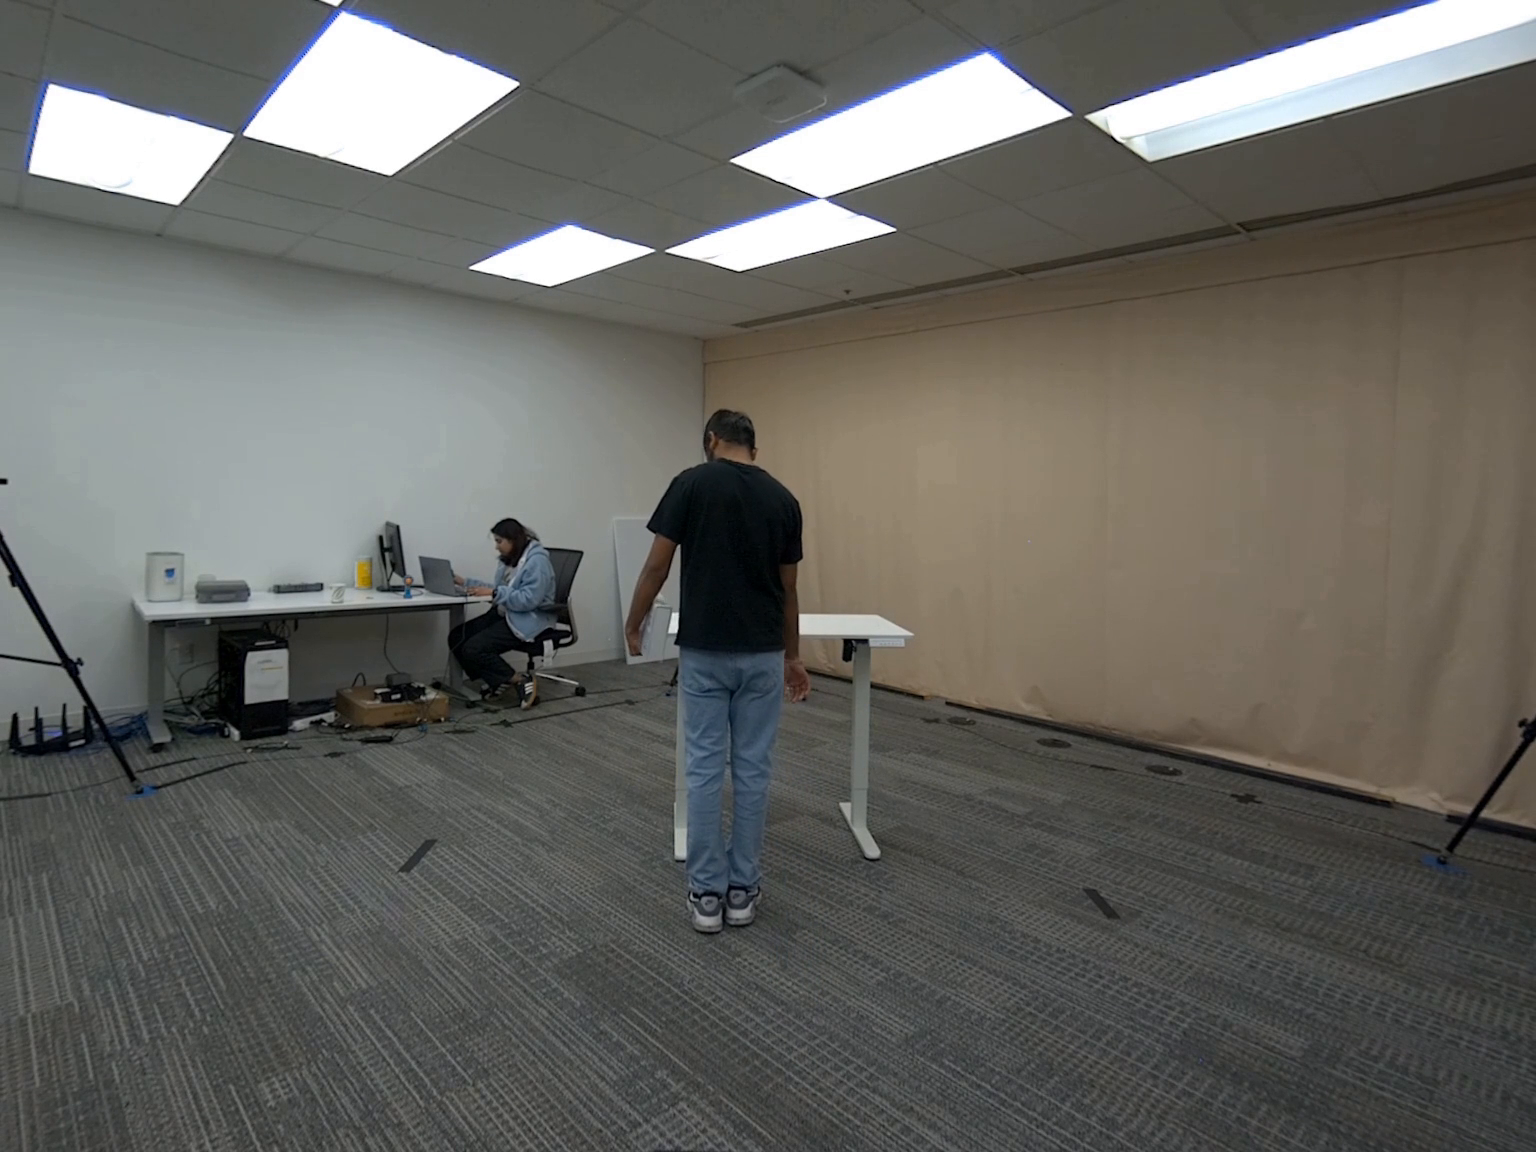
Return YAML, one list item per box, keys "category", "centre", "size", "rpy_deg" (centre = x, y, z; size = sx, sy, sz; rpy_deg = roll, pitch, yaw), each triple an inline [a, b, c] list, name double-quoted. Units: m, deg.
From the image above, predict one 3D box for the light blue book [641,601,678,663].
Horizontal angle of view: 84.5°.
- category: "light blue book"
  centre: [-0.385, 0.162, 2.856]
  size: [0.058, 0.190, 0.266]
  rpy_deg: [7, 9, -20]
